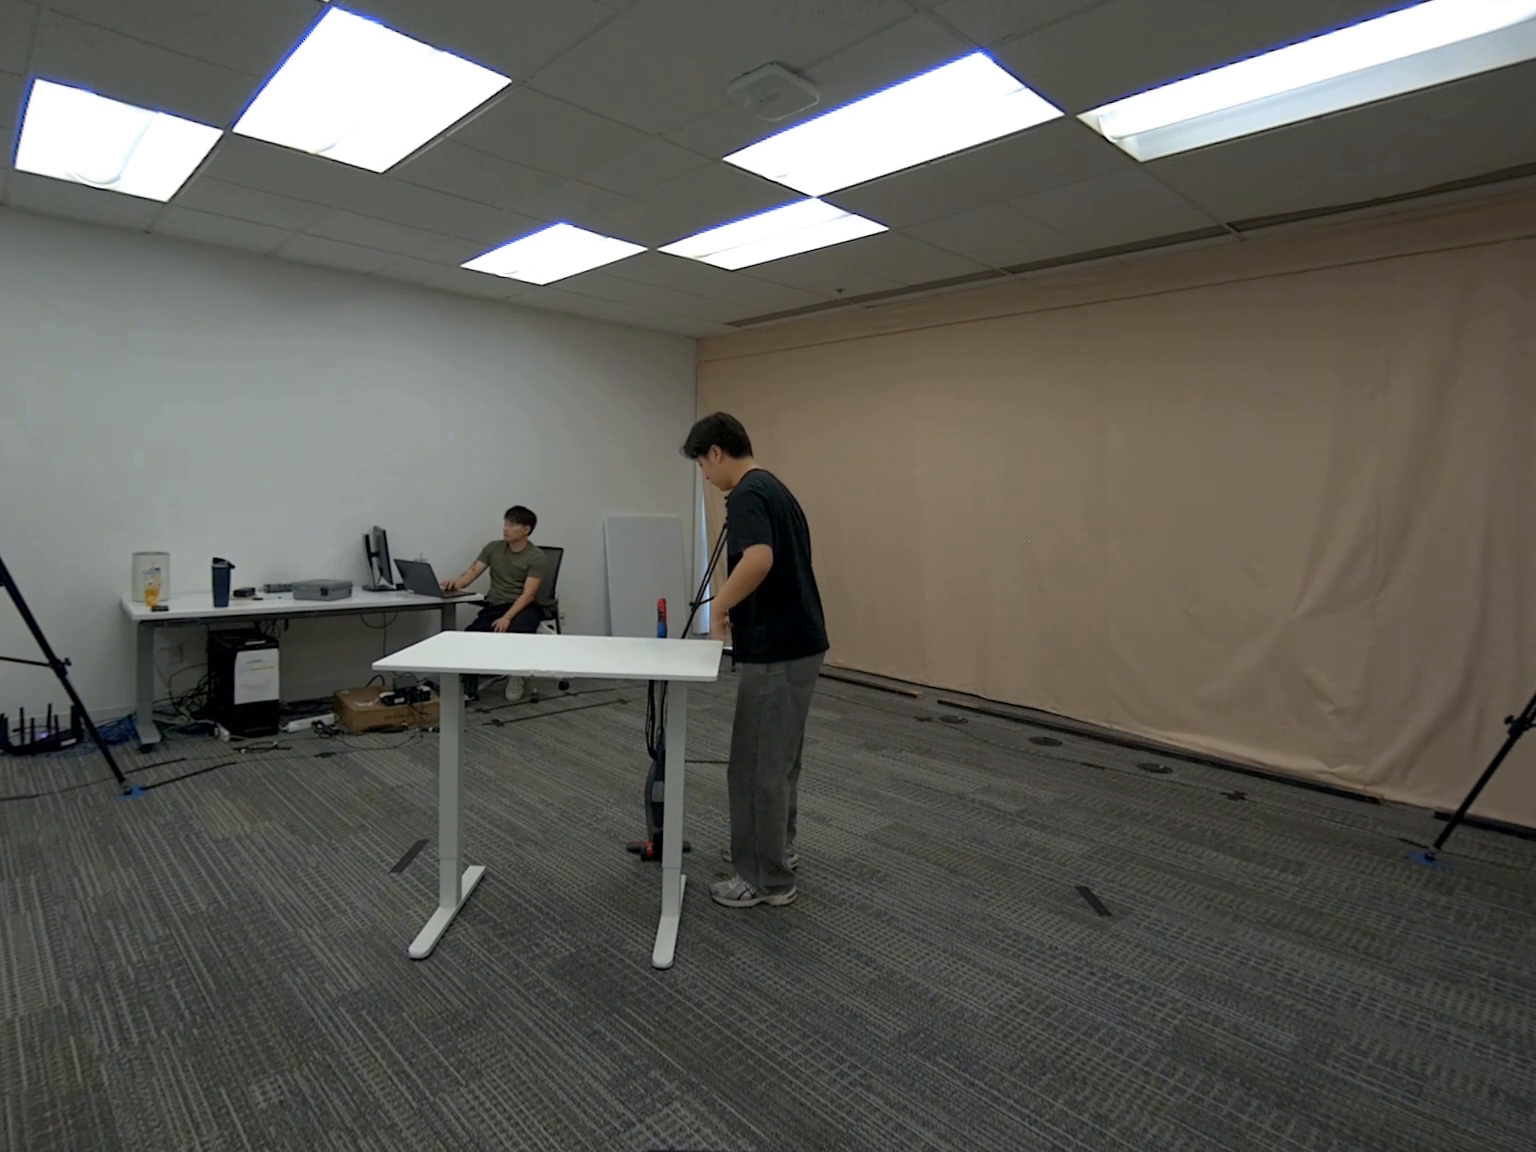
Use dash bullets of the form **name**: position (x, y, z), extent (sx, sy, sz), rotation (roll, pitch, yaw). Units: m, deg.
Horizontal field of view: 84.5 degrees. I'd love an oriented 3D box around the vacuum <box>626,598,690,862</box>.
- **vacuum**: position (-0.405, 0.578, 3.121), extent (0.252, 1.037, 0.146), rotation (2, 17, -4)
